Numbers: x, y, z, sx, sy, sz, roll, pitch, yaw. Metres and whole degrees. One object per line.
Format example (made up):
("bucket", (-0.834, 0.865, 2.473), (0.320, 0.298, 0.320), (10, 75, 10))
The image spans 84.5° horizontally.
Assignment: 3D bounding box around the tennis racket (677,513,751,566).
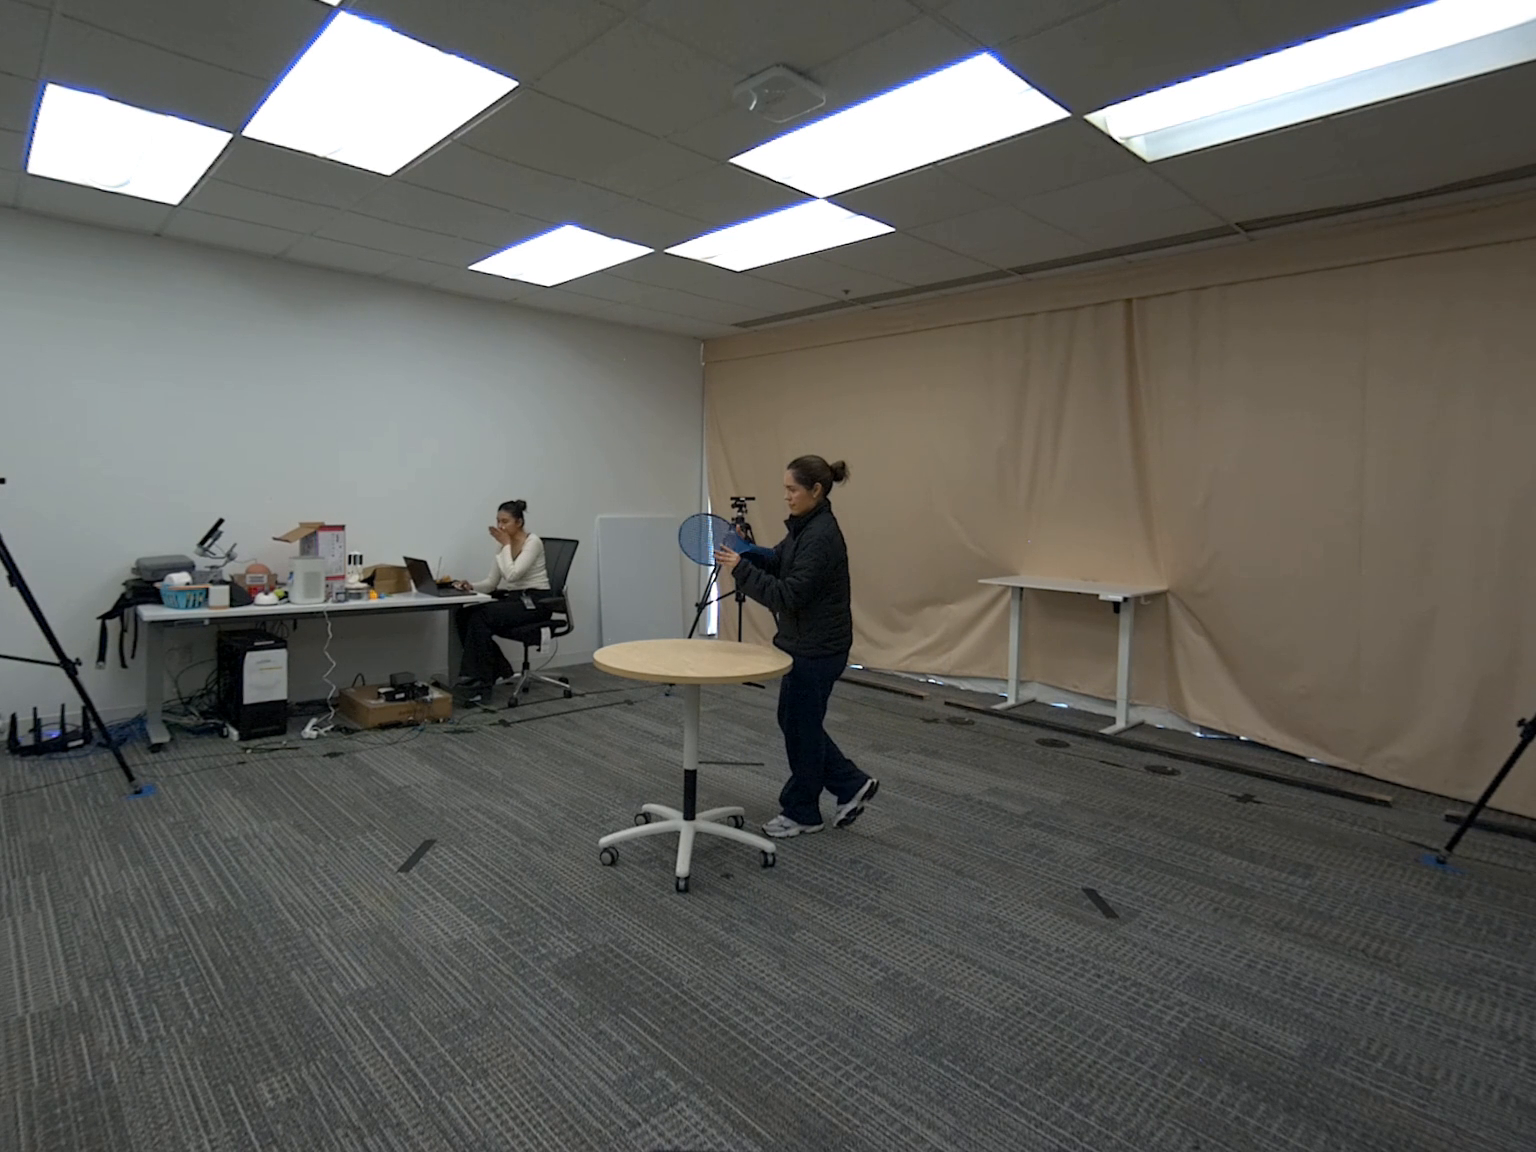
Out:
("tennis racket", (-0.171, -0.116, 3.380), (0.424, 0.215, 0.032), (11, -15, -26))
